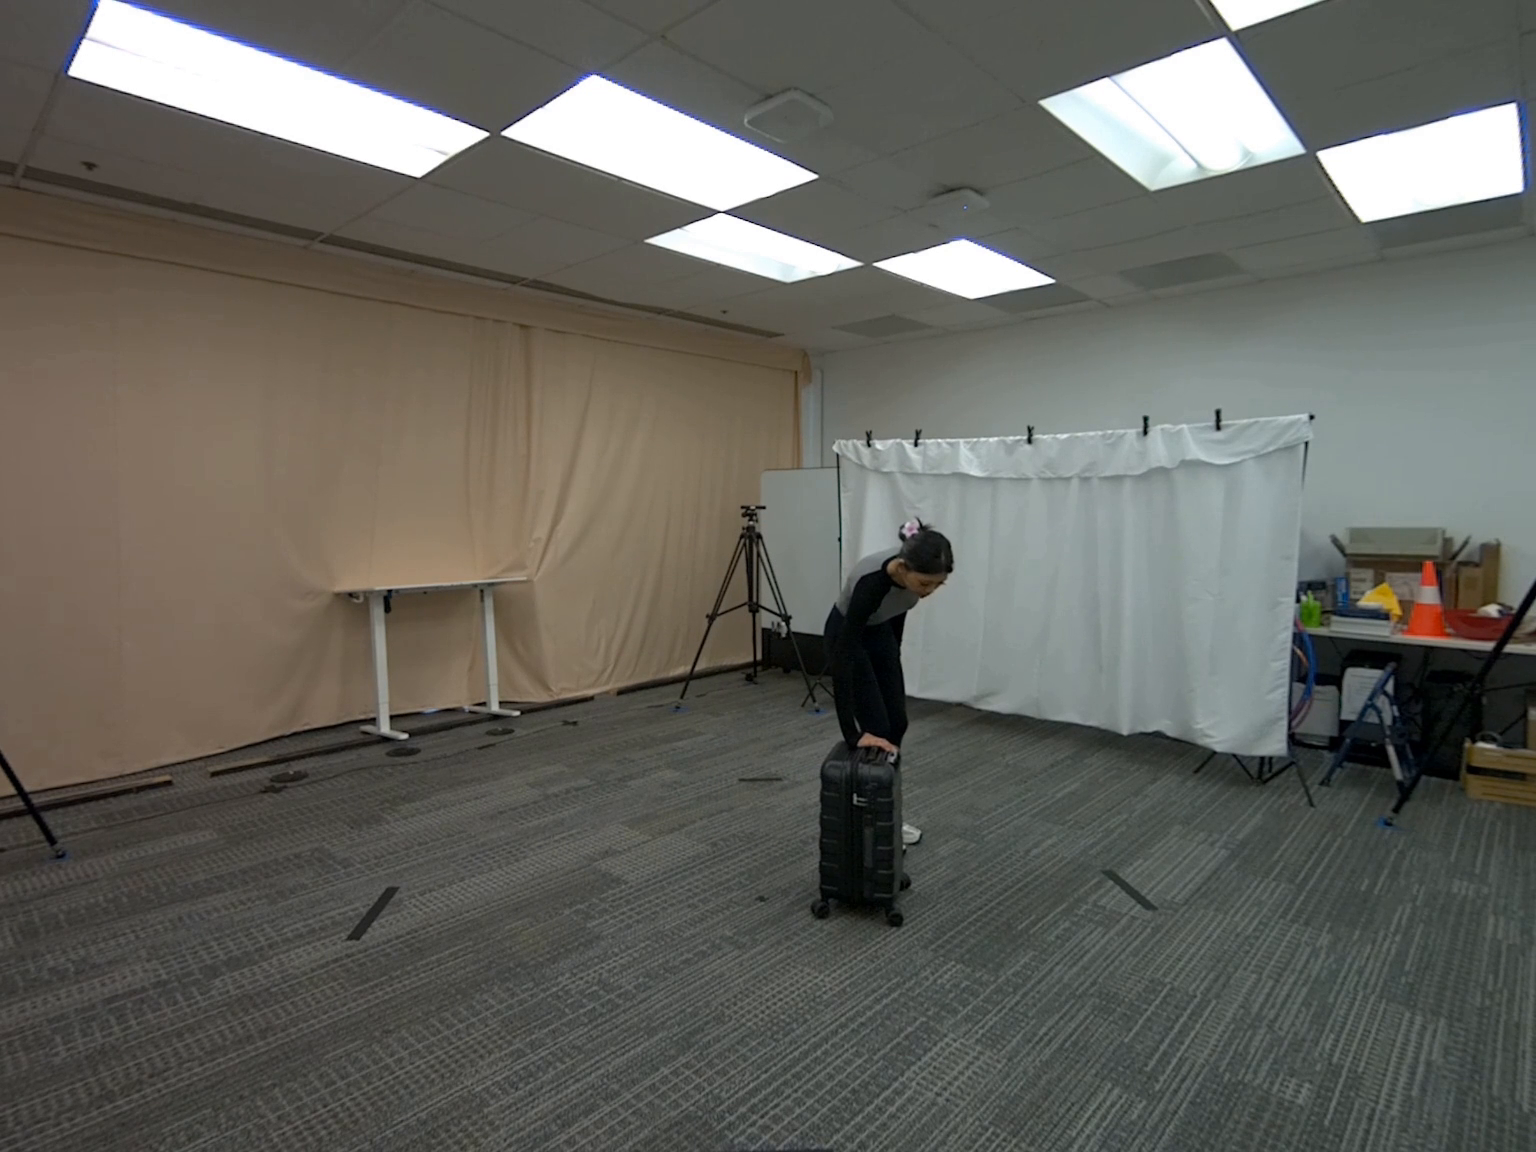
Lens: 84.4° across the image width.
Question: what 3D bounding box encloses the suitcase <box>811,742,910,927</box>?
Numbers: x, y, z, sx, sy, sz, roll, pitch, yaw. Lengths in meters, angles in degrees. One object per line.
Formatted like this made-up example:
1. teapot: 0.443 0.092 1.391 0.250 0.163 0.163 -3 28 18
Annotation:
1. suitcase: 0.334 0.875 2.948 0.253 0.548 0.368 0 3 18
